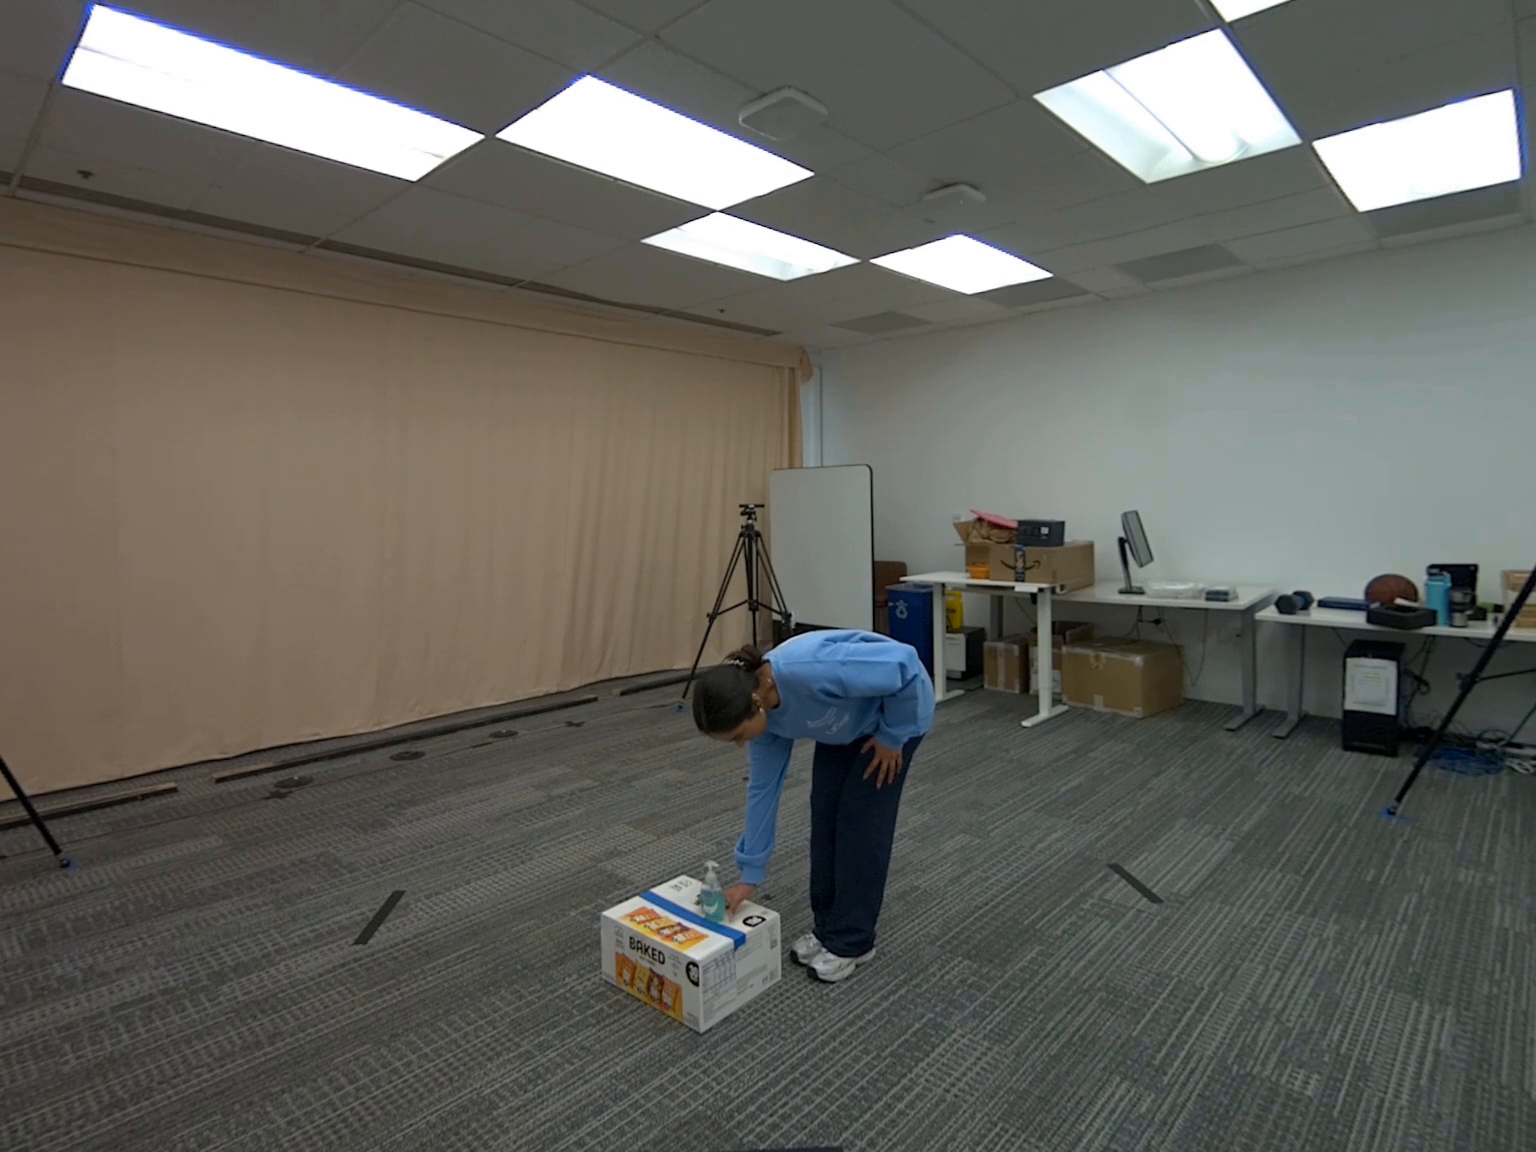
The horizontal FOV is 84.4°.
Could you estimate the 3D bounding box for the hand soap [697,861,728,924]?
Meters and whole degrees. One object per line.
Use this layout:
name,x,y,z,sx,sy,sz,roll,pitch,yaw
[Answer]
hand soap,-0.159,0.916,2.434,0.087,0.168,0.042,-2,3,37
